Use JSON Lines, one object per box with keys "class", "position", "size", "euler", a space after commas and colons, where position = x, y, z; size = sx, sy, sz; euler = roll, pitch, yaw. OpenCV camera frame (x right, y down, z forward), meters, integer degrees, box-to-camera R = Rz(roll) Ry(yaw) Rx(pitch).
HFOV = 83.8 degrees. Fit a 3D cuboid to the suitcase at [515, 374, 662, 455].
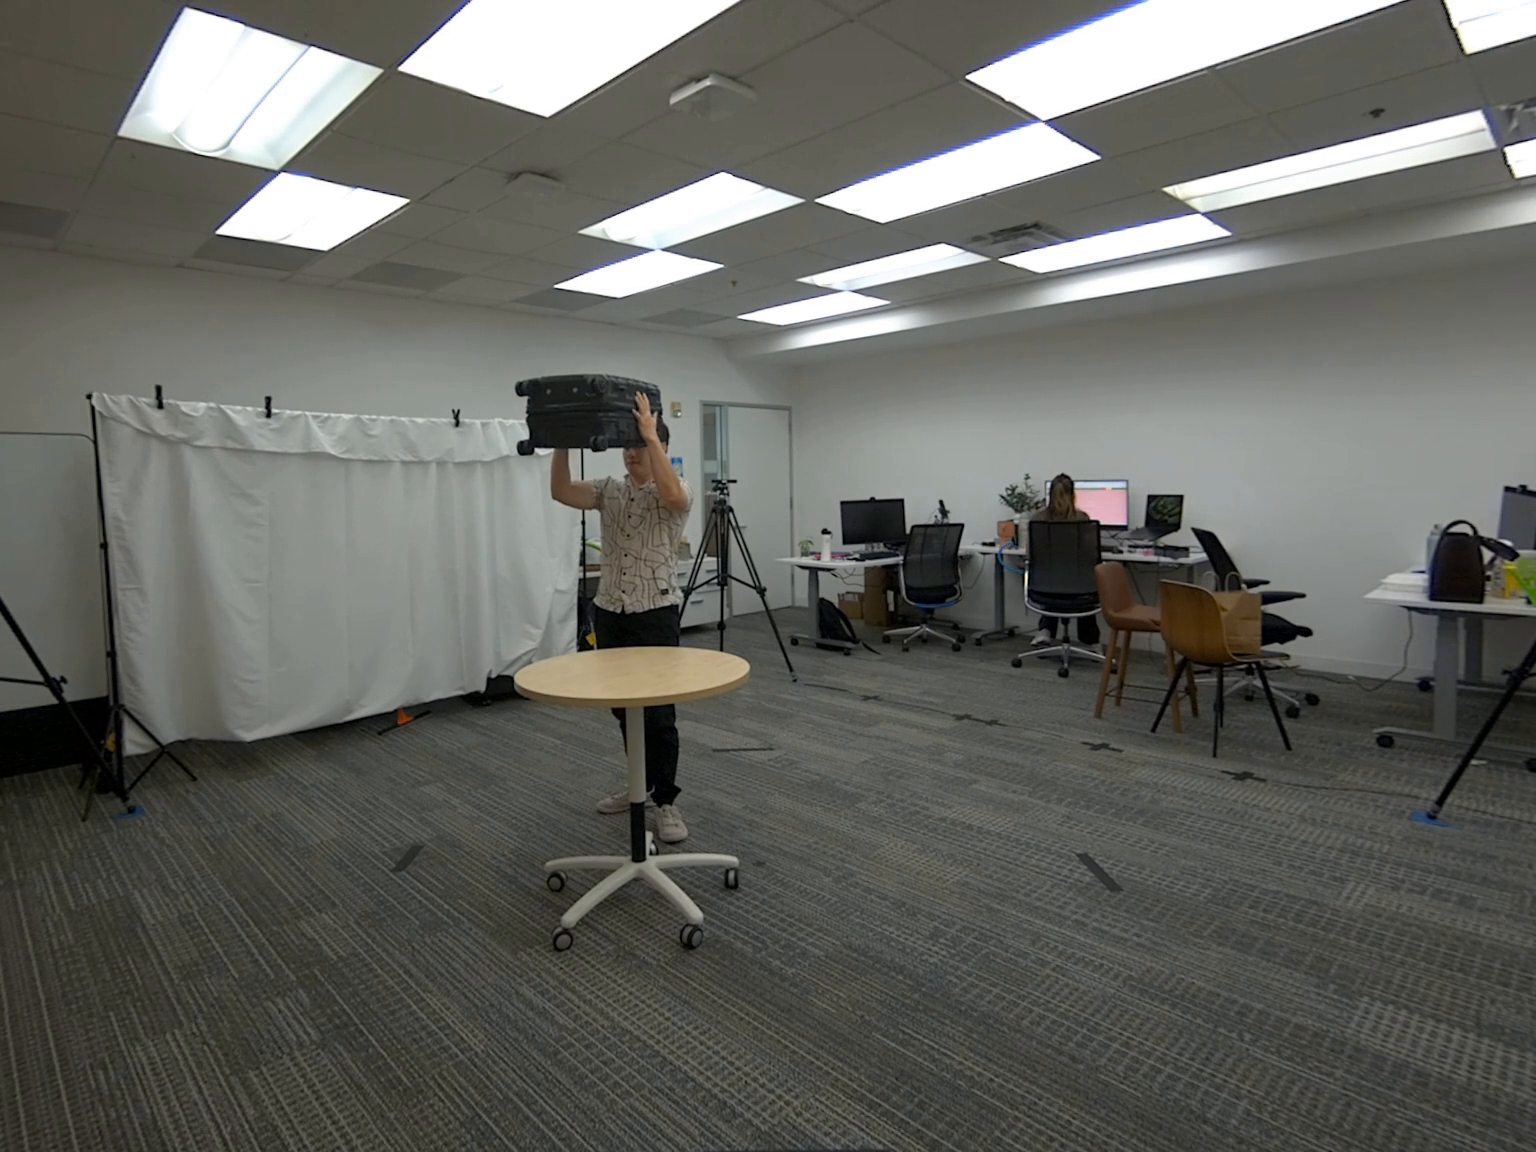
{"class": "suitcase", "position": [-0.643, -0.608, 3.186], "size": [0.382, 0.247, 0.542], "euler": [3, 9, 18]}
